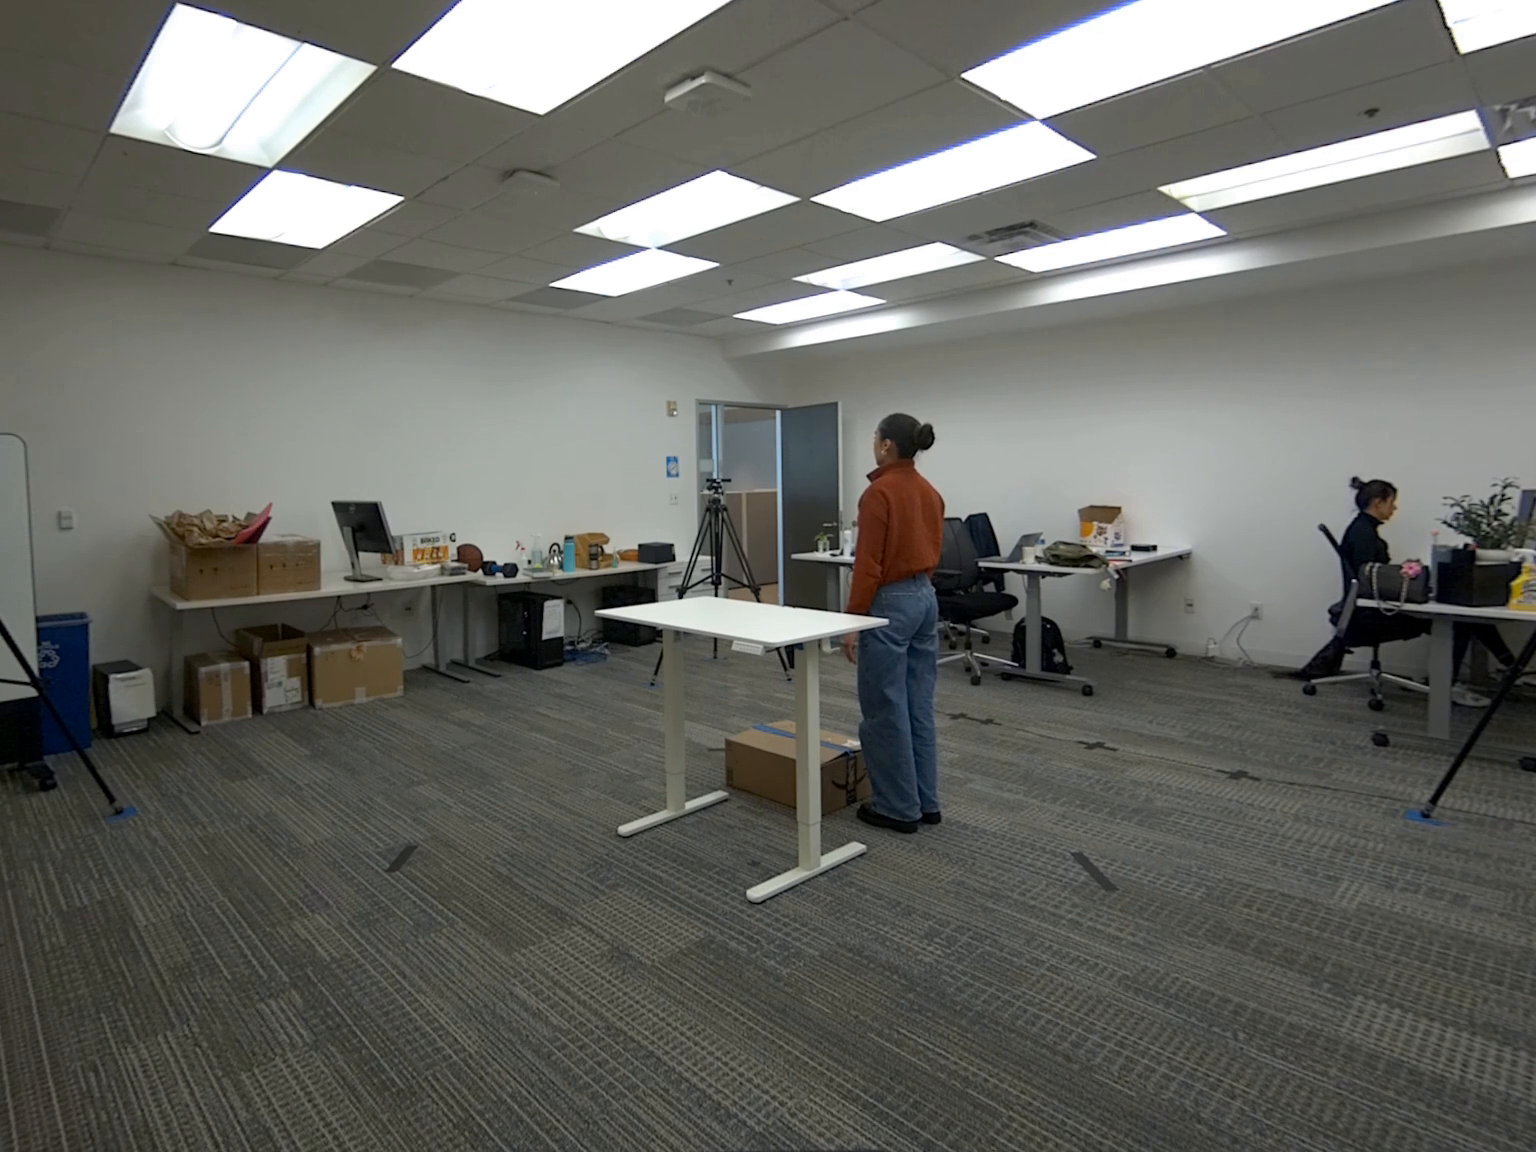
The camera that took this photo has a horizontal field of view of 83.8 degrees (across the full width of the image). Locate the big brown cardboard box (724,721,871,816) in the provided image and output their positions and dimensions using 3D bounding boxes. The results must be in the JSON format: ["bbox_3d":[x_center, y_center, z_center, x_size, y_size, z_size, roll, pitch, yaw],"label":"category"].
[{"bbox_3d":[0.153,0.848,3.845,0.406,0.232,0.607,-6,7,-45],"label":"big brown cardboard box"}]
